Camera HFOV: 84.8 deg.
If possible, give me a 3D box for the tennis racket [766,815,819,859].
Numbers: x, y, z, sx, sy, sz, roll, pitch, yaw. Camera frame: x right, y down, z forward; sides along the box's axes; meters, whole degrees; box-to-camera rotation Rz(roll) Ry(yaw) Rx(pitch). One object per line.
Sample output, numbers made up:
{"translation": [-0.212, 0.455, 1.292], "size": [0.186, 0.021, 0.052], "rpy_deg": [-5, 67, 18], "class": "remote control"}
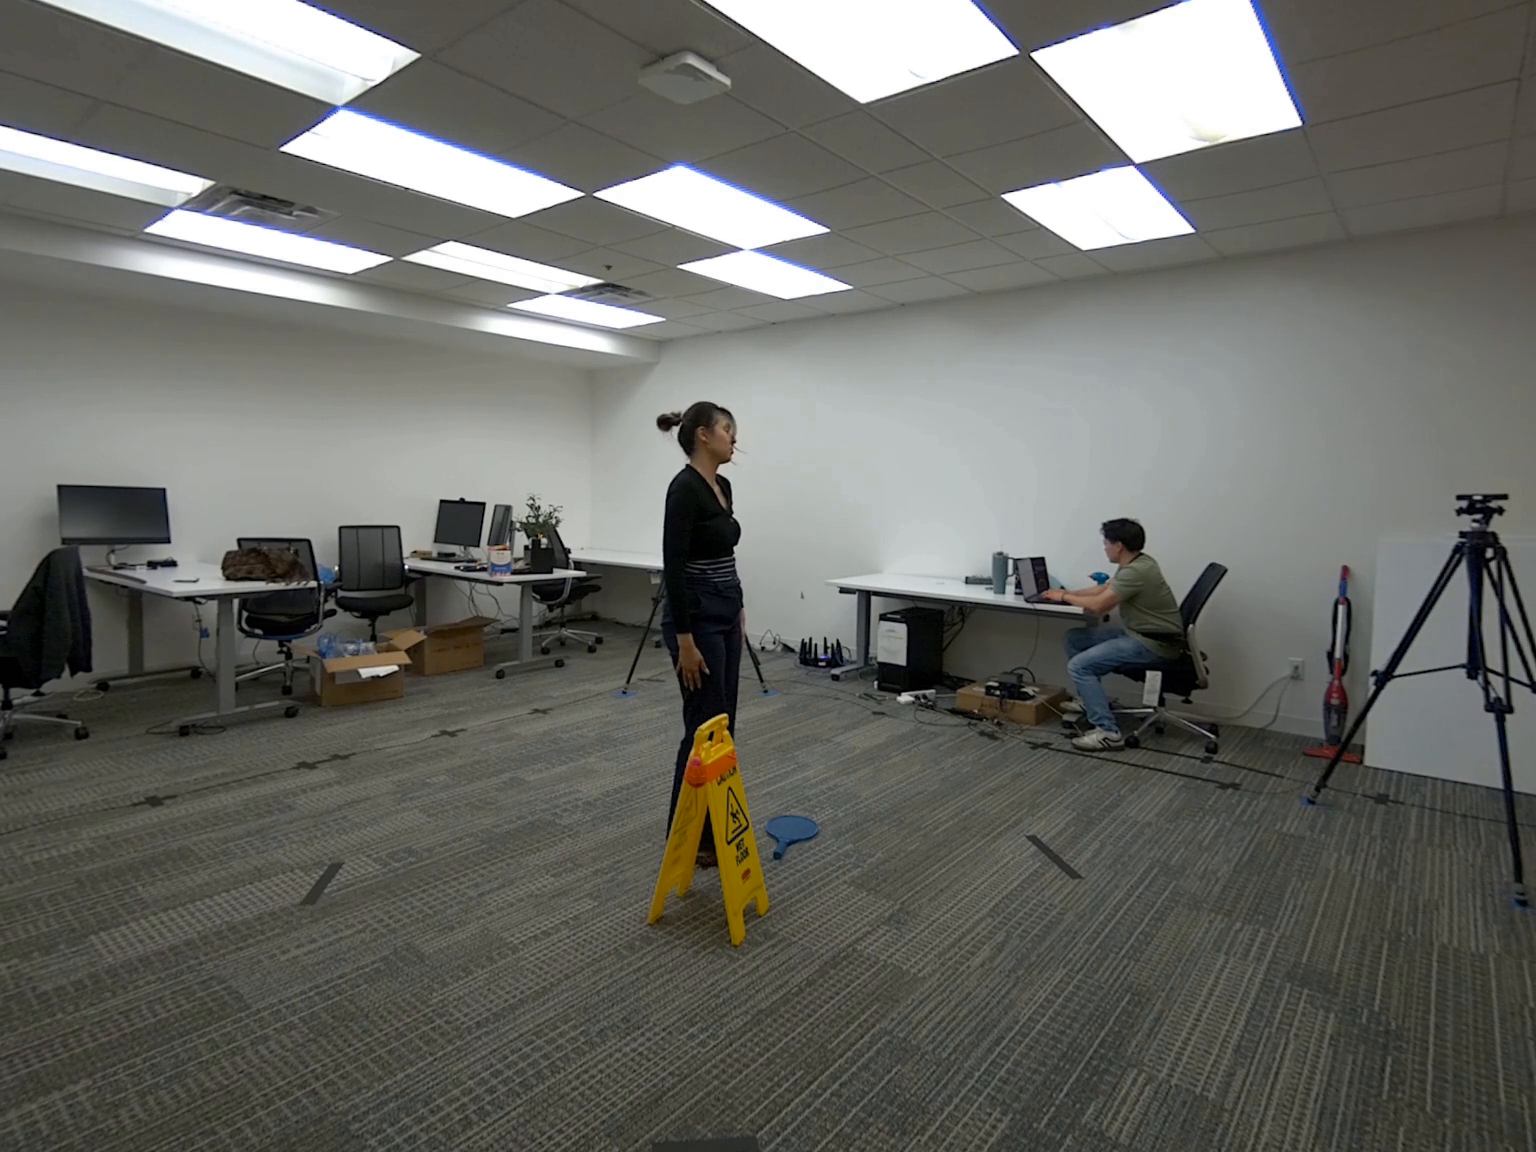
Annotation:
{"translation": [0.063, 1.025, 3.391], "size": [0.217, 0.032, 0.426], "rpy_deg": [2, 4, 15], "class": "tennis racket"}
